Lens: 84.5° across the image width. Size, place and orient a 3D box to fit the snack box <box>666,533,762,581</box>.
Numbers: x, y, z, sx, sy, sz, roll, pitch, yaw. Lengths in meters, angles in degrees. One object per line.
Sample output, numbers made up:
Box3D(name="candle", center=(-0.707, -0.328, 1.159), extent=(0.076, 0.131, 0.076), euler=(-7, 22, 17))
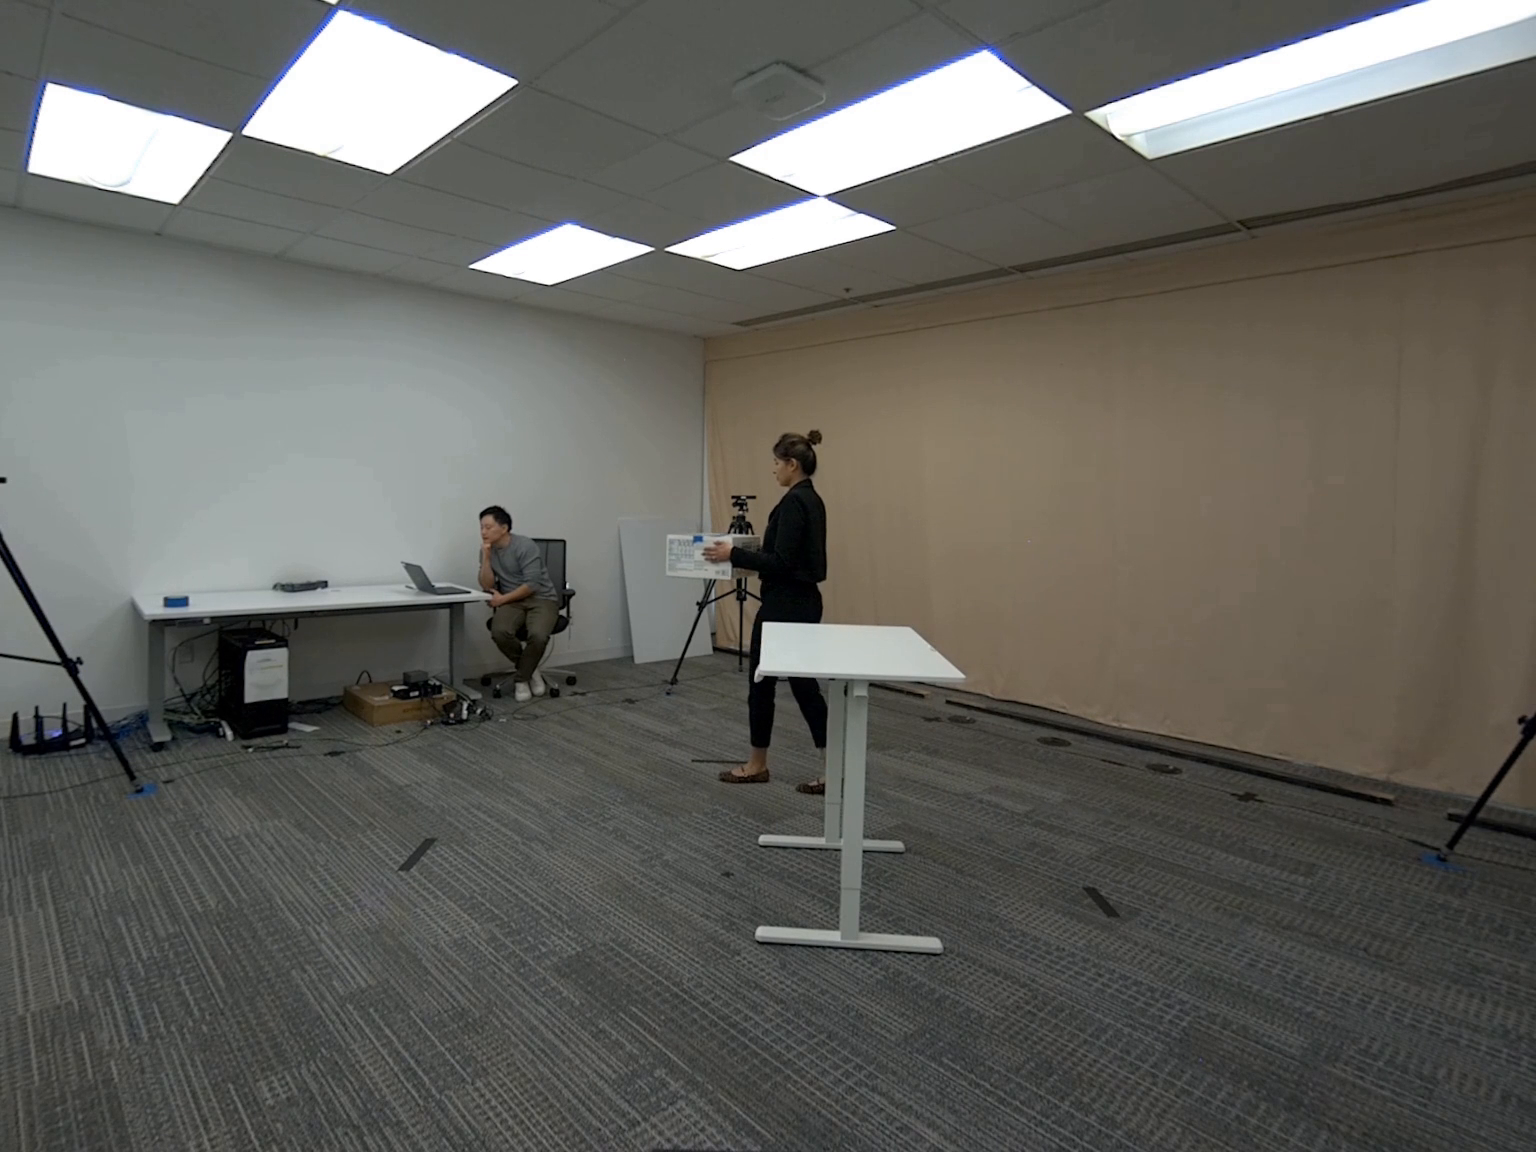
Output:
Box3D(name="snack box", center=(-0.268, -0.103, 4.159), extent=(0.346, 0.205, 0.400), euler=(3, 4, 20))
